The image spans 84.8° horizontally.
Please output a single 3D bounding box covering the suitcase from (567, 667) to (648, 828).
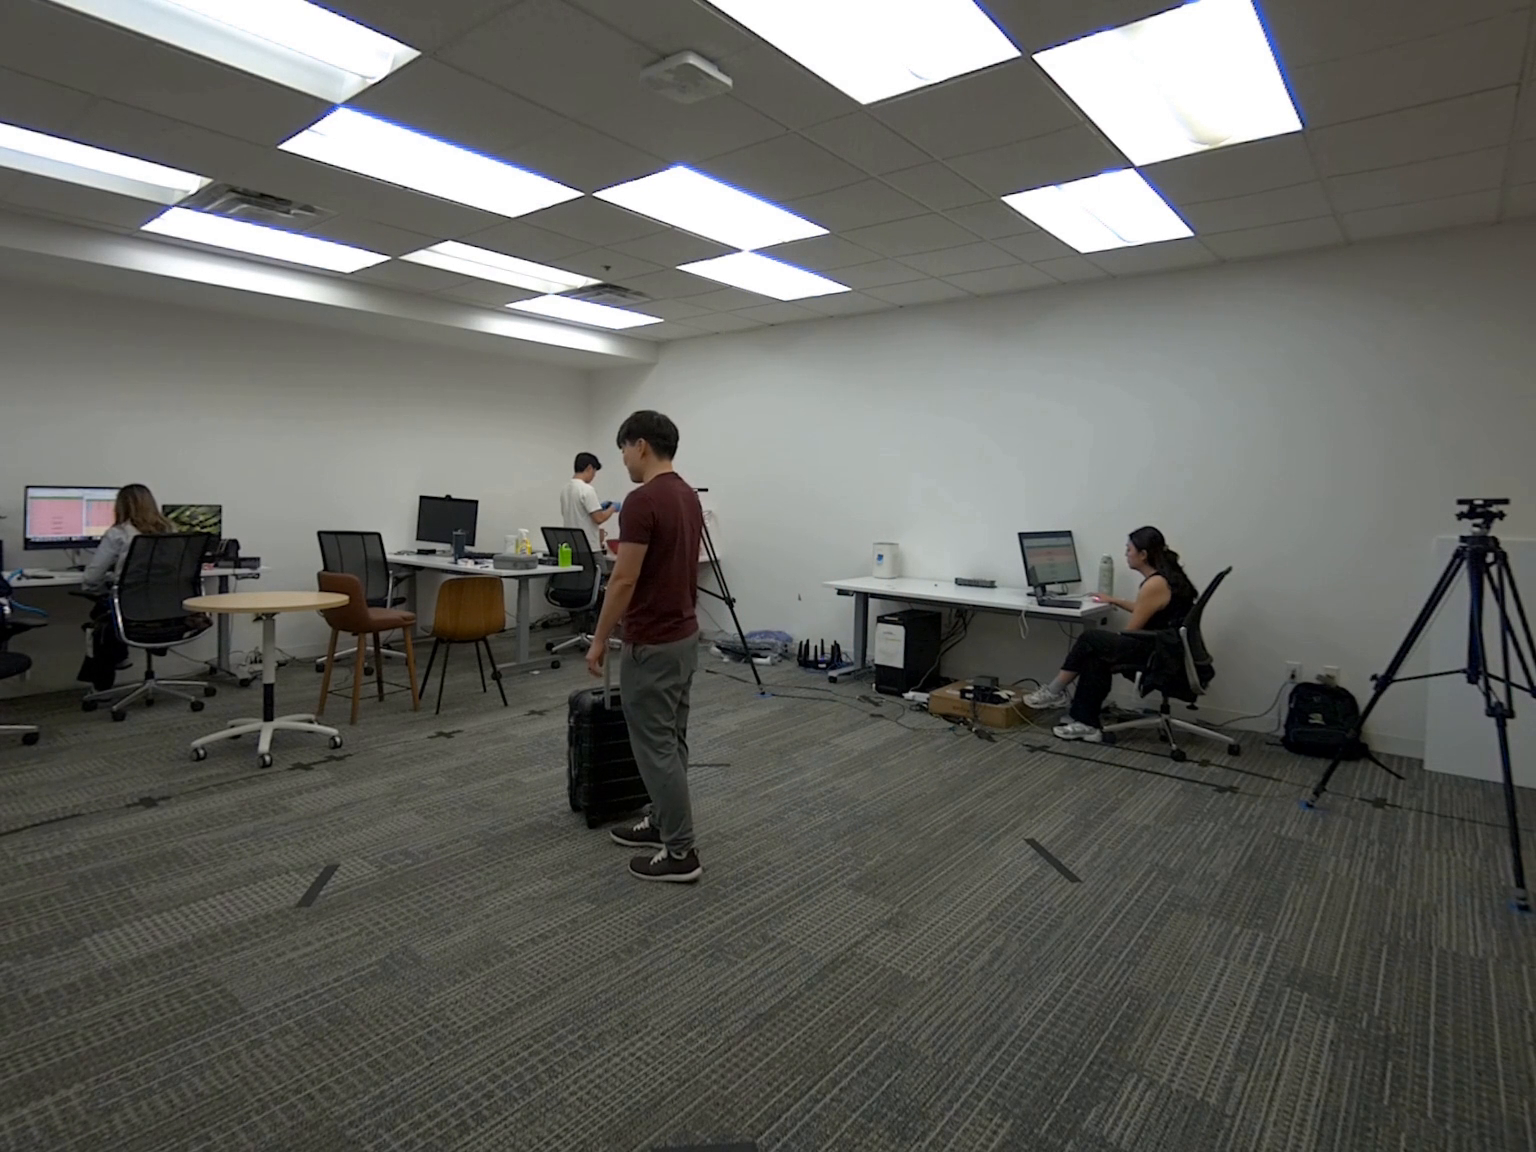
[{"bbox_3d":[-0.677,0.538,3.615,0.375,0.978,0.263,-2,1,-26],"label":"suitcase"}]
